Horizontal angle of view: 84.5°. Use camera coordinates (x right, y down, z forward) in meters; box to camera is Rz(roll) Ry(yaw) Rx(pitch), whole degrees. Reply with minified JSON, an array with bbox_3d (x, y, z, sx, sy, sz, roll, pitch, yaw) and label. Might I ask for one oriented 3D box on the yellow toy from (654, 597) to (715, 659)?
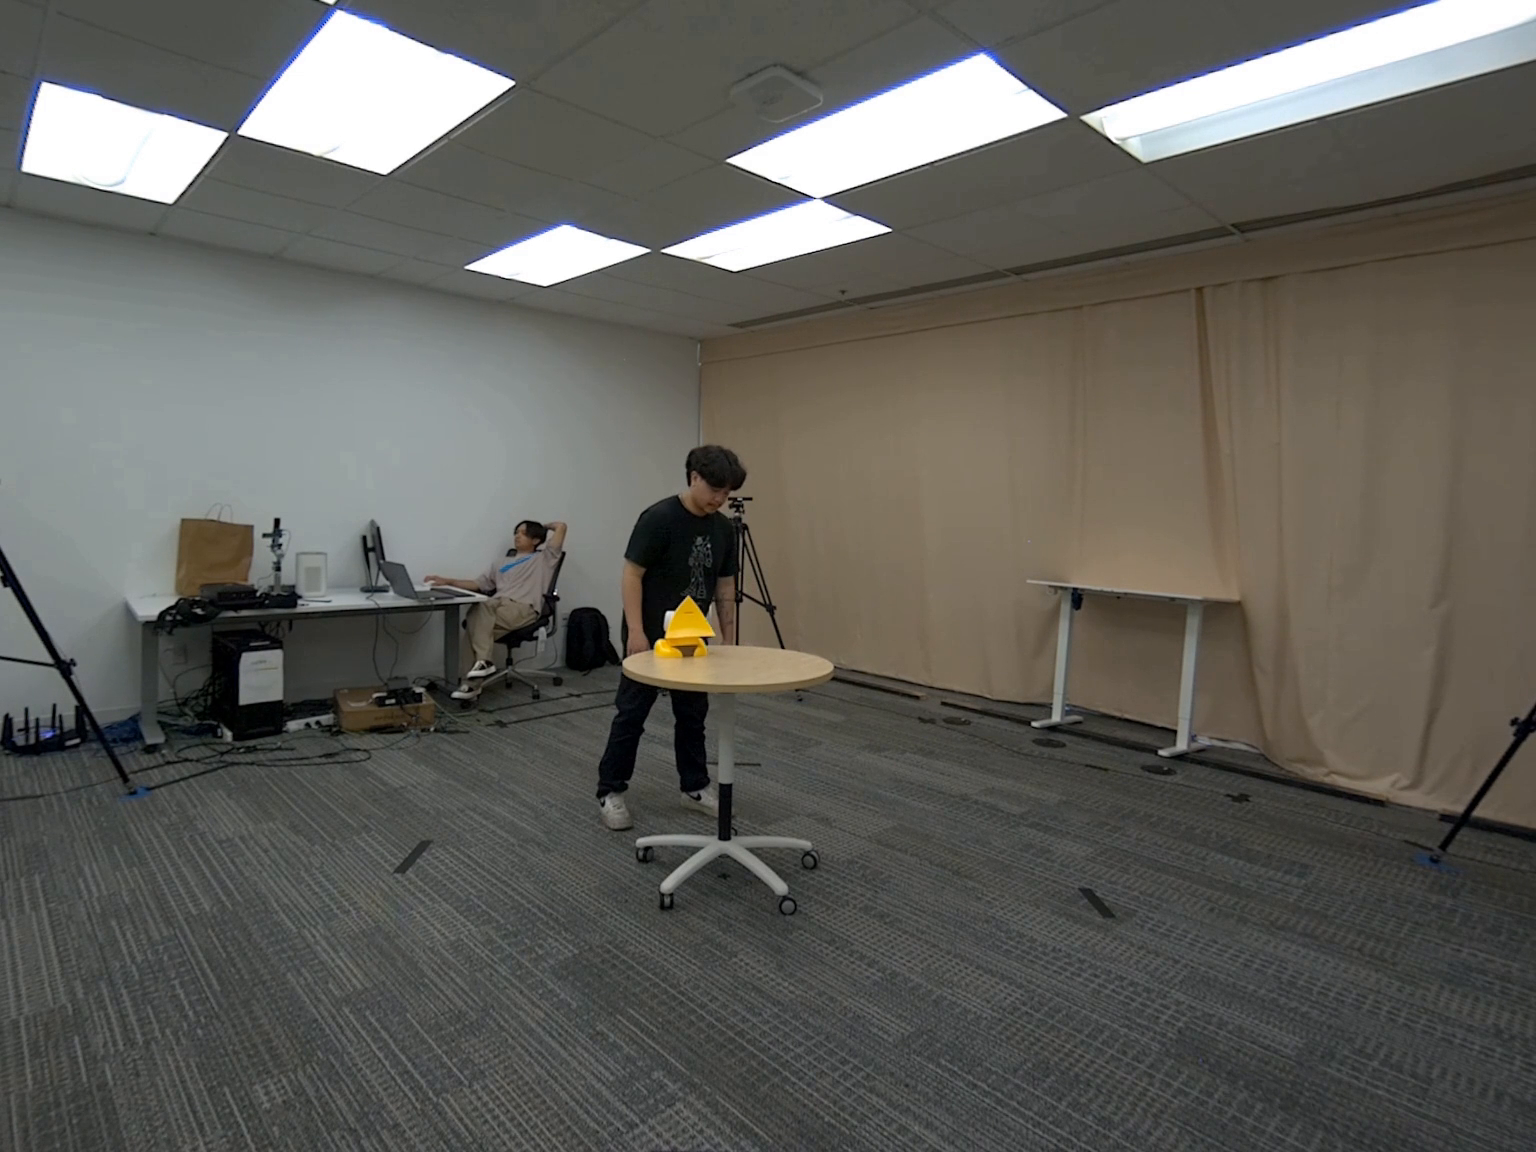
[{"bbox_3d":[-0.346,0.186,3.231,0.201,0.230,0.197,-2,5,-28],"label":"yellow toy"}]
